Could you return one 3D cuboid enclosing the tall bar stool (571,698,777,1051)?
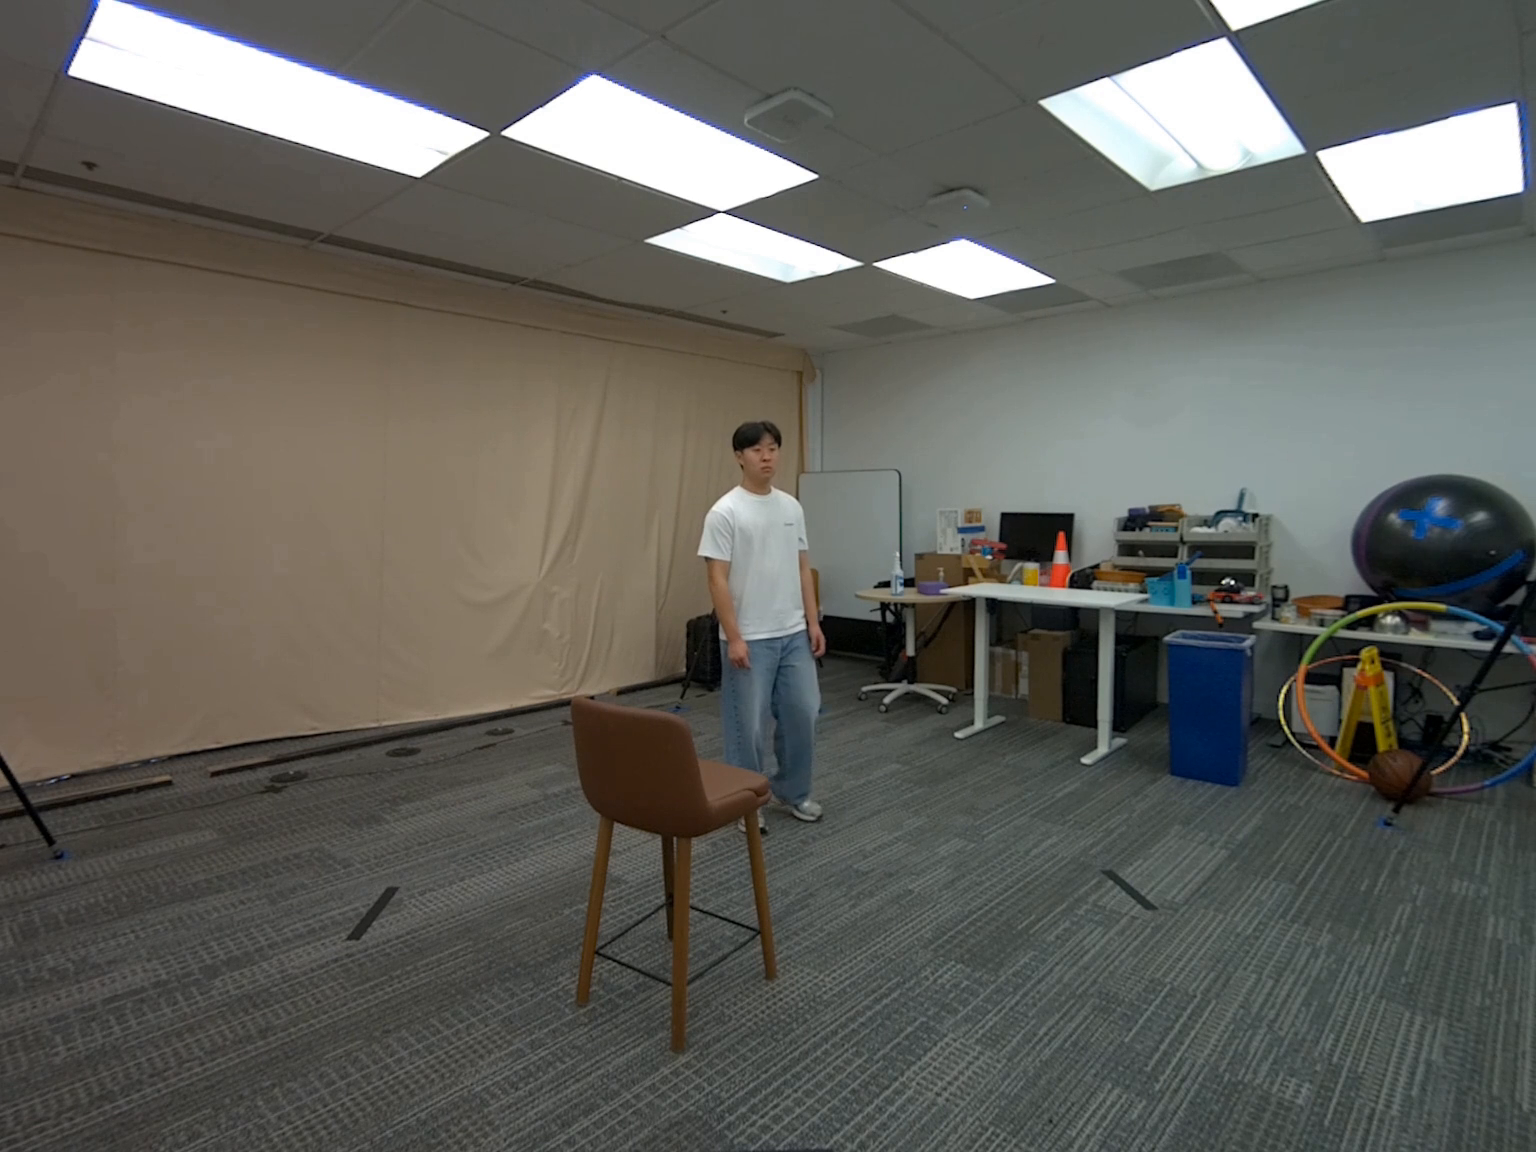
[{"bbox_3d":[-0.270,0.758,2.407,0.471,0.887,0.454,1,6,35],"label":"tall bar stool"}]
